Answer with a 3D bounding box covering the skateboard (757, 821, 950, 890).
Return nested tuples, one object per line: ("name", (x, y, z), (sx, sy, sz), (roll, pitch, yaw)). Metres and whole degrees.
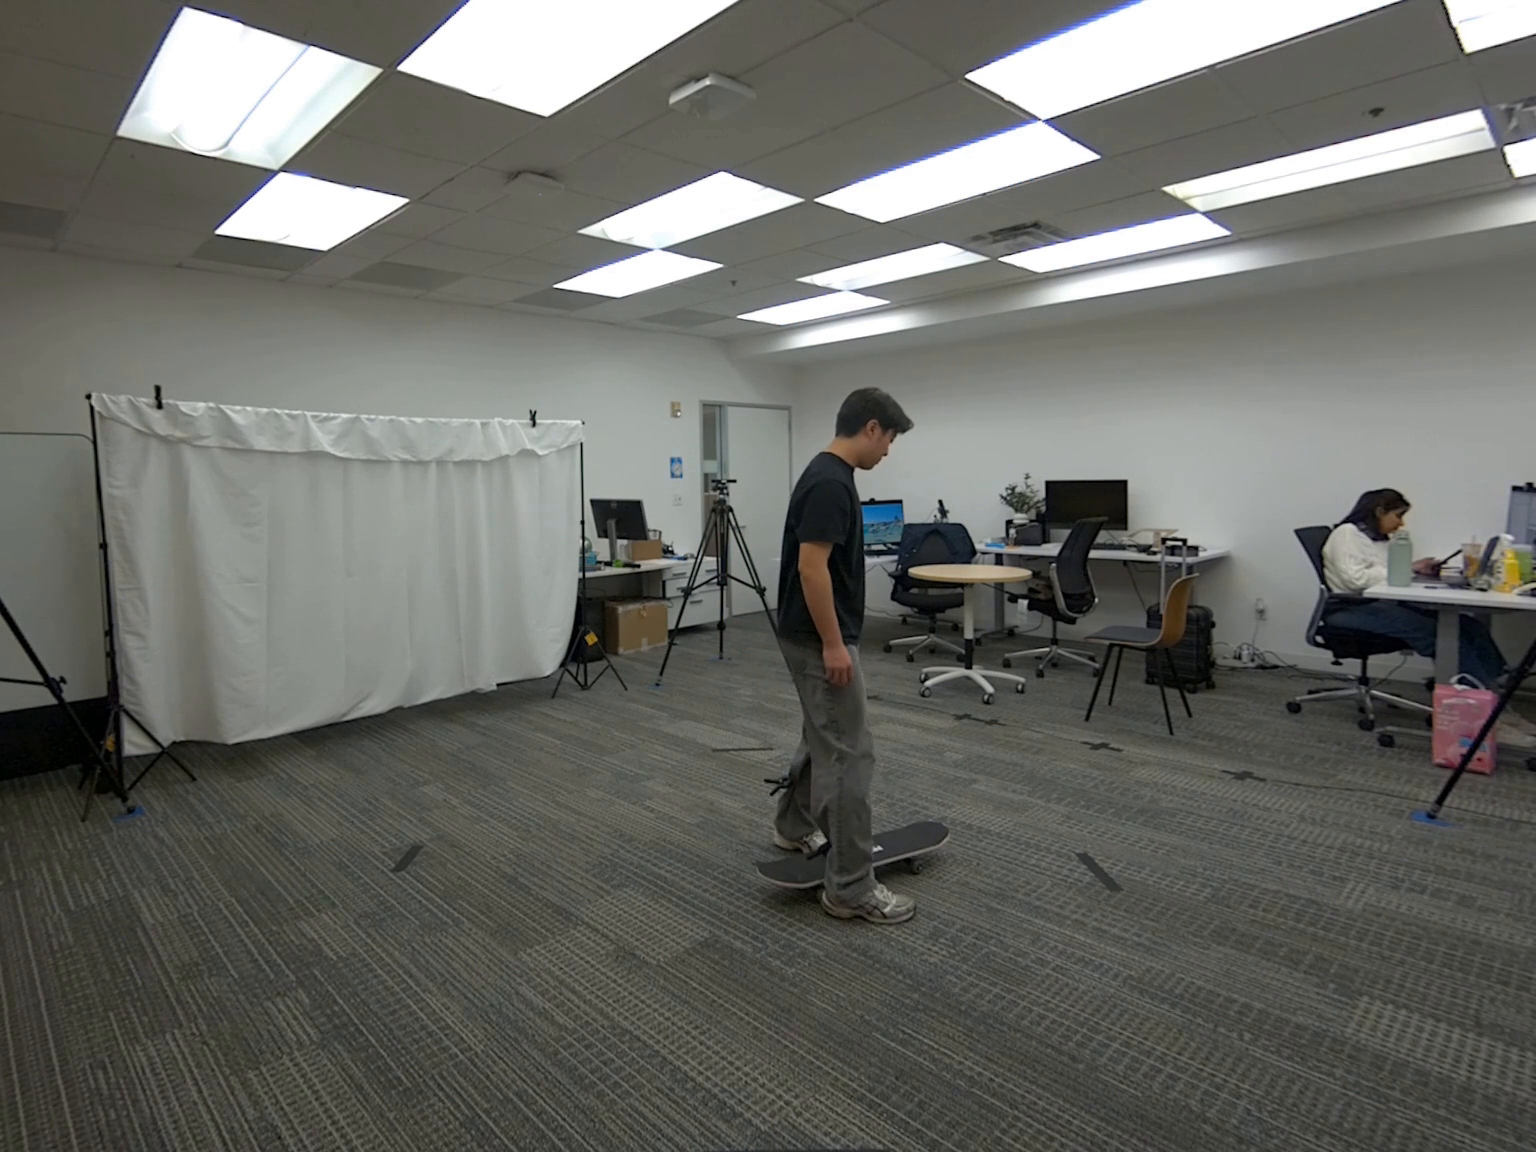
("skateboard", (0.314, 0.993, 2.975), (0.767, 0.110, 0.199), (-5, 7, -29))
